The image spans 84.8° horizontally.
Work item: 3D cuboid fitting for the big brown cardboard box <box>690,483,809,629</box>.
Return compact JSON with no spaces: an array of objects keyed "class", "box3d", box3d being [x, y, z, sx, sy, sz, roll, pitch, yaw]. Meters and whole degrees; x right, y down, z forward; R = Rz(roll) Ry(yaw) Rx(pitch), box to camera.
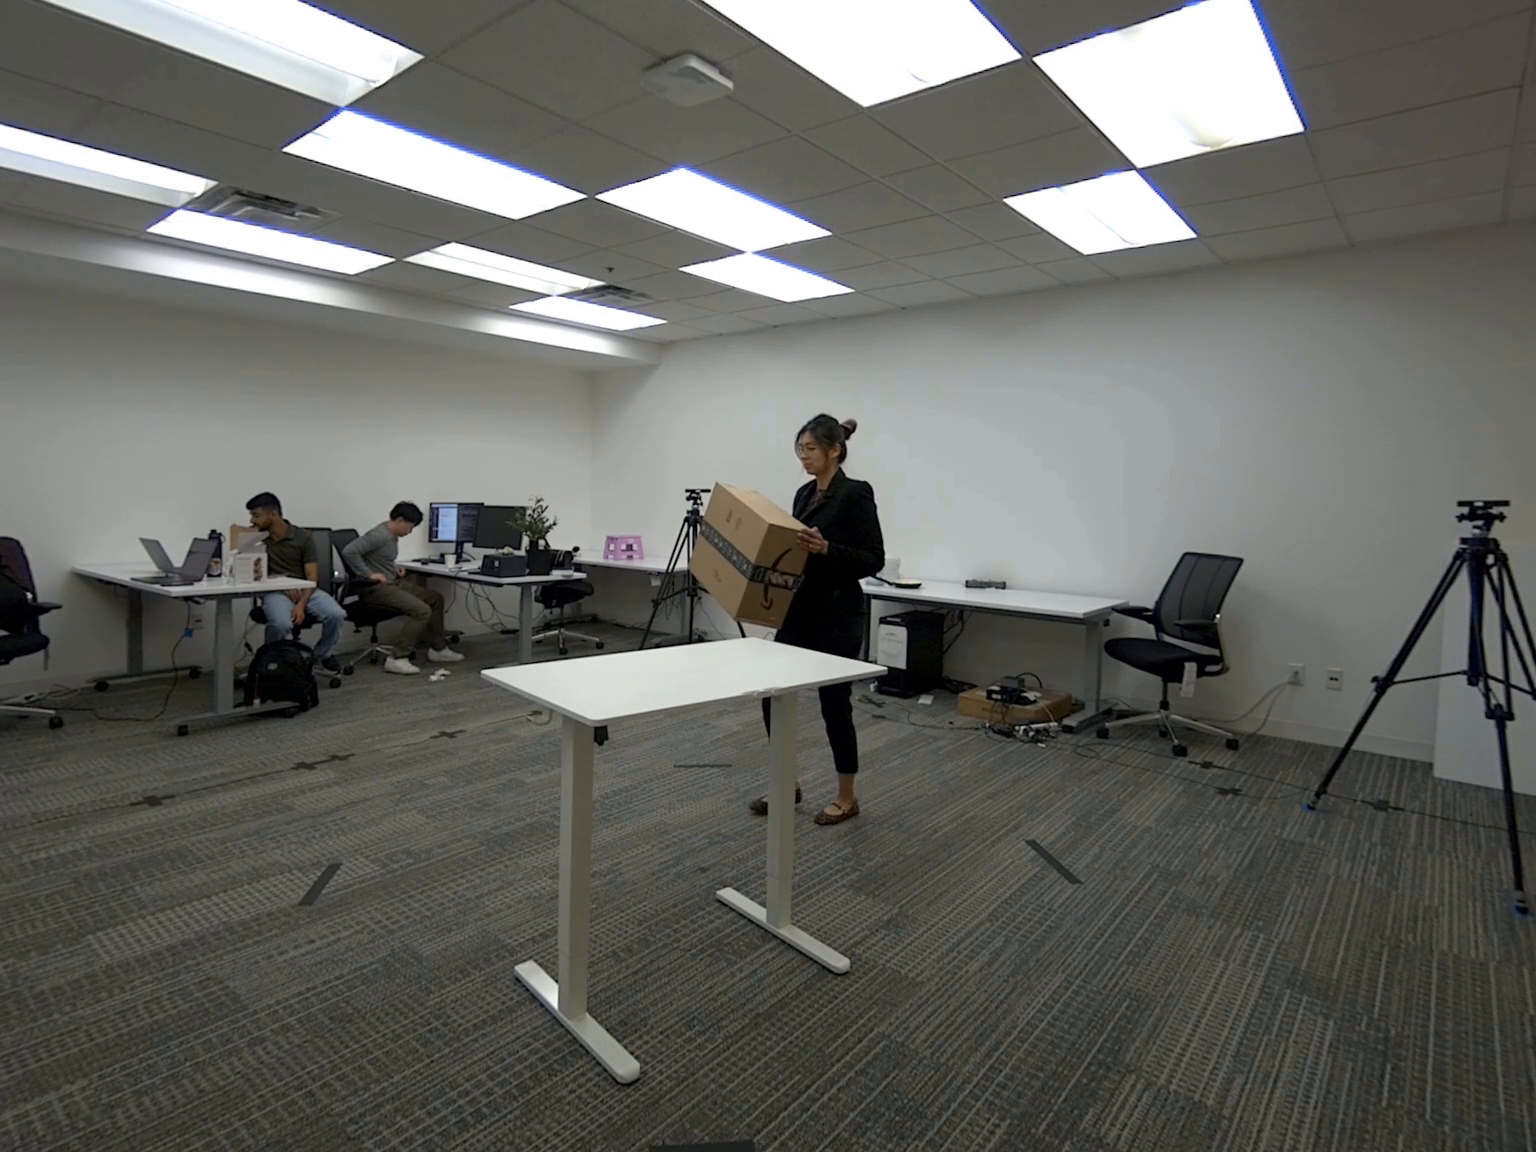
[{"class":"big brown cardboard box","box3d":[-0.098,-0.098,3.544,0.226,0.414,0.612,11,17,-29]}]
